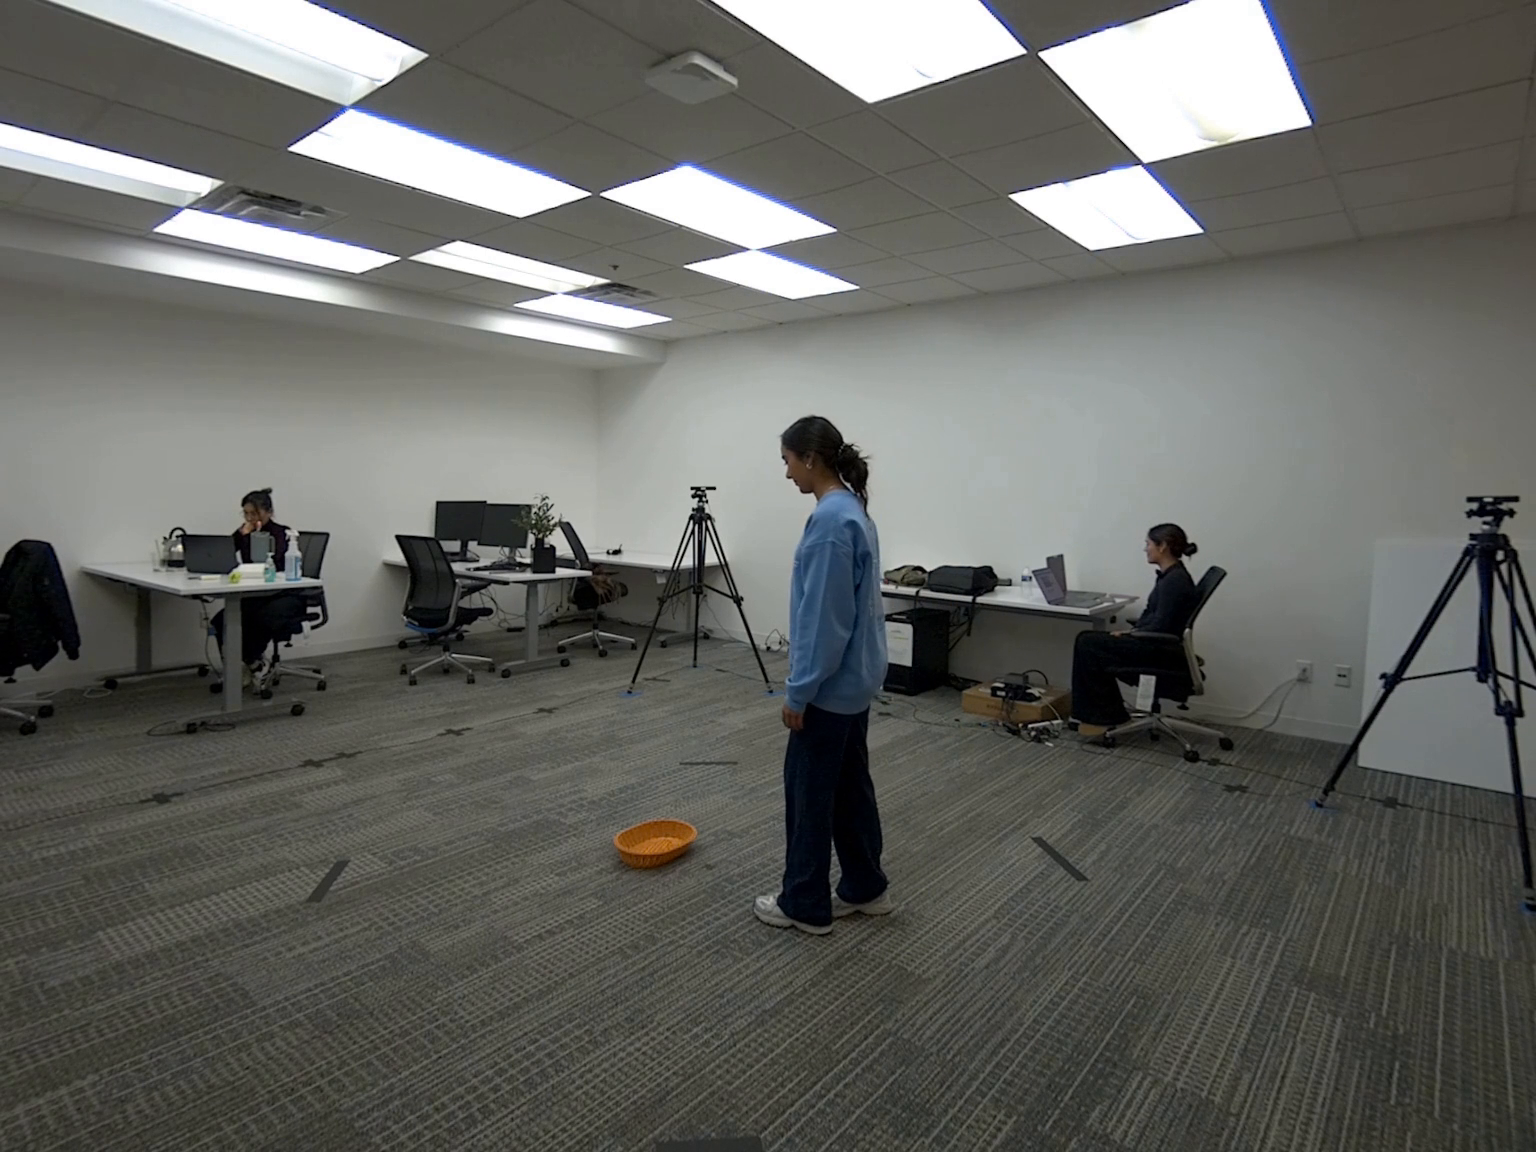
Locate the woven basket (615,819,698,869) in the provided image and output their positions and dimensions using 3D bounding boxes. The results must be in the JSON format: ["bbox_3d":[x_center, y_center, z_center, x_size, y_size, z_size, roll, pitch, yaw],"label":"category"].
[{"bbox_3d":[-0.432,1.011,3.217,0.261,0.073,0.340,6,7,38],"label":"woven basket"}]
